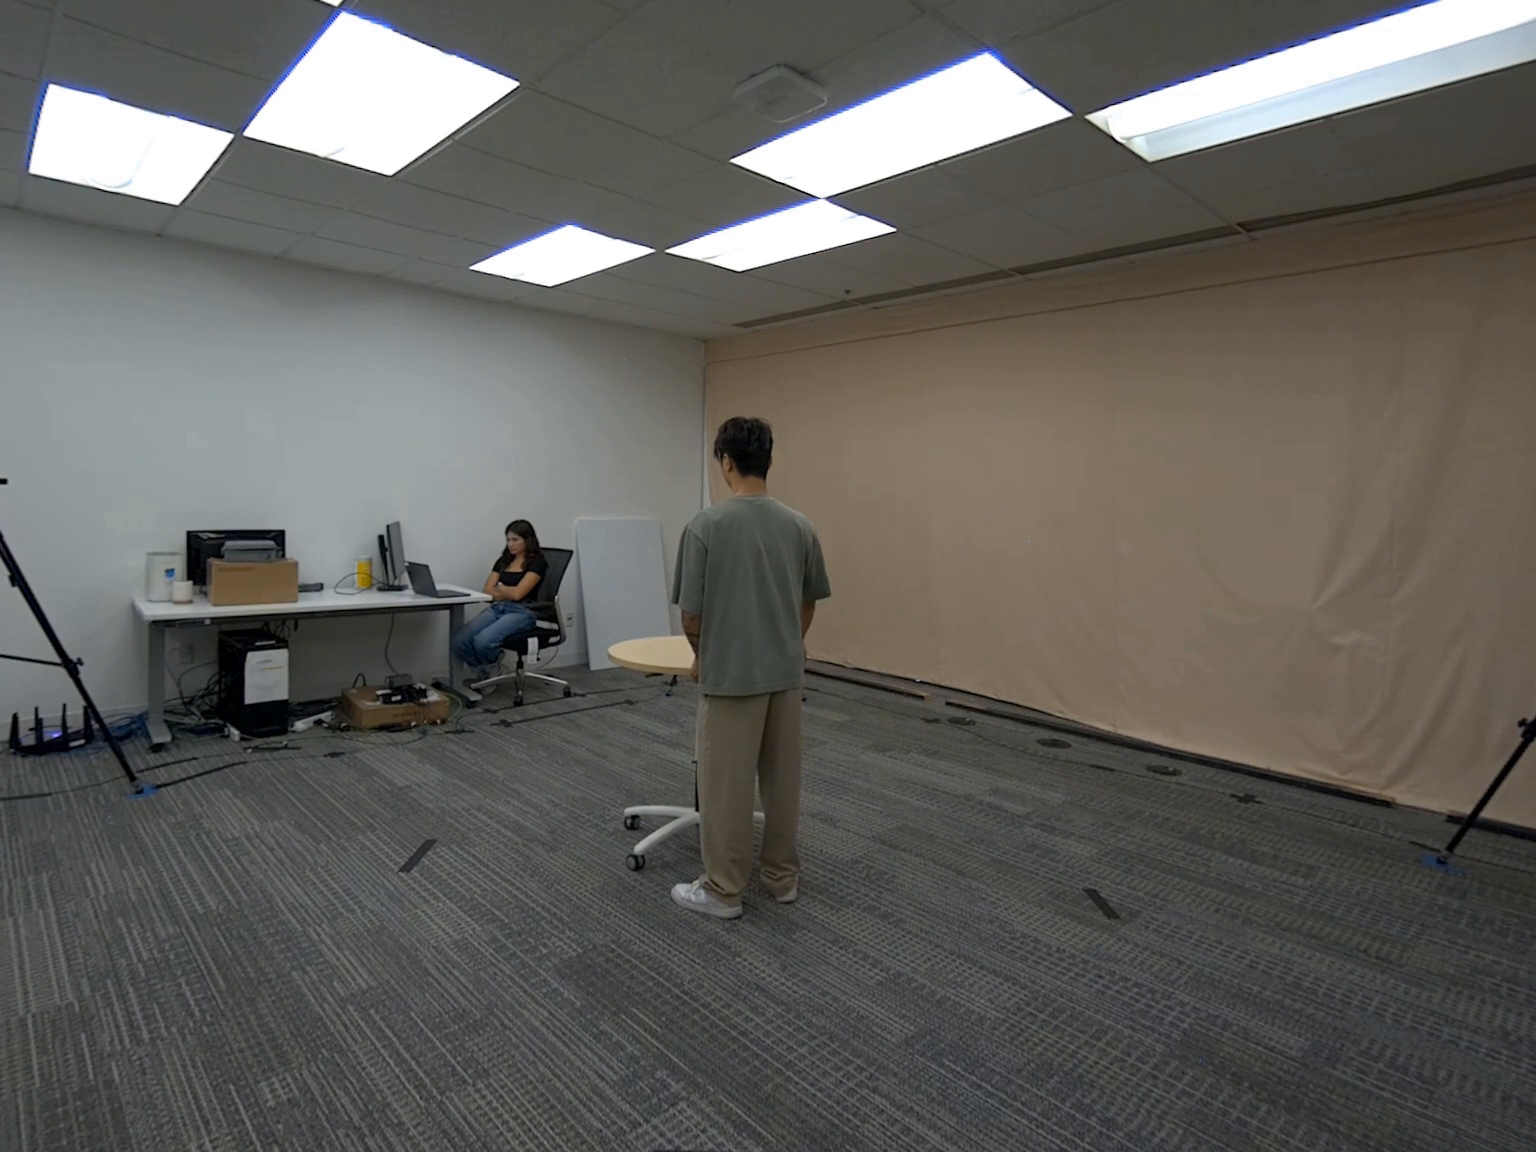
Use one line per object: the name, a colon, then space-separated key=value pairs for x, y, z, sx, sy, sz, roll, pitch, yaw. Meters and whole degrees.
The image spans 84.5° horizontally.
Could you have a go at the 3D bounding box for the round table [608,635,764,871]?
round table: x=-0.262 y=0.689 z=3.351 sx=0.784 sy=0.785 sz=0.787 roll=1 pitch=3 yaw=-1
